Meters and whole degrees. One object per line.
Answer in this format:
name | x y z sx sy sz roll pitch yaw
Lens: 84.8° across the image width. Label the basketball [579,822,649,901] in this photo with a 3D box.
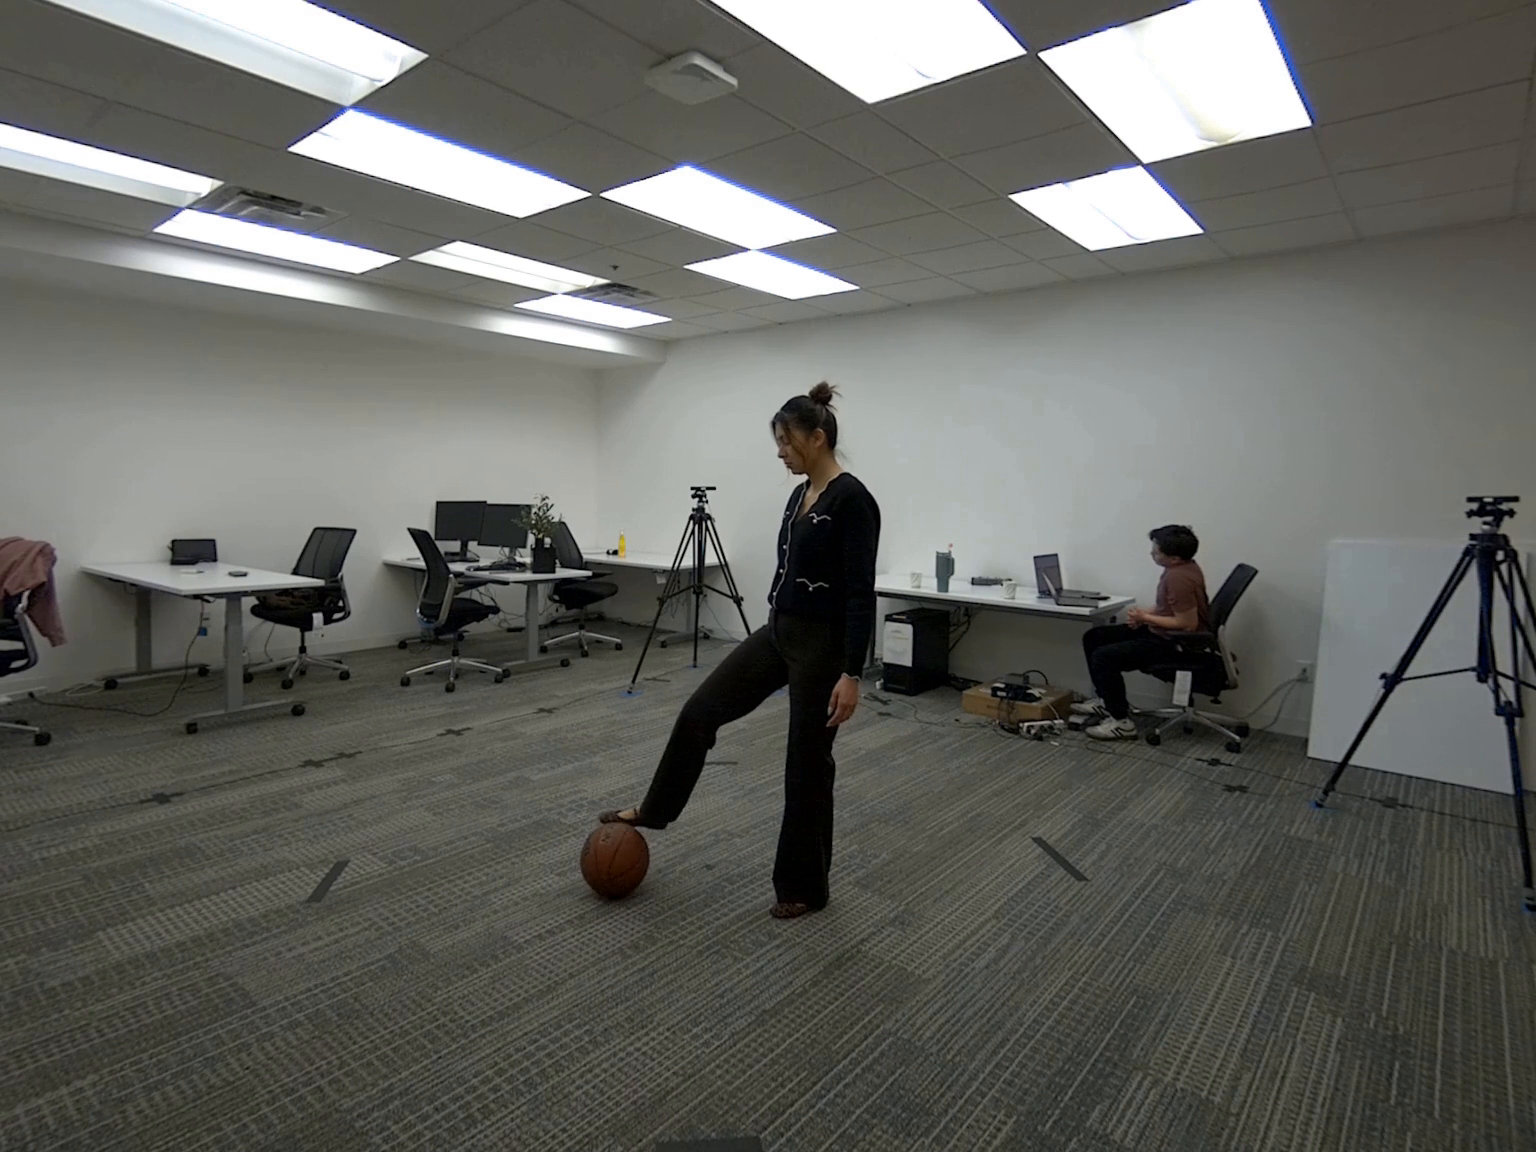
basketball | -0.520 0.963 2.894 0.235 0.235 0.237 1 4 -2
